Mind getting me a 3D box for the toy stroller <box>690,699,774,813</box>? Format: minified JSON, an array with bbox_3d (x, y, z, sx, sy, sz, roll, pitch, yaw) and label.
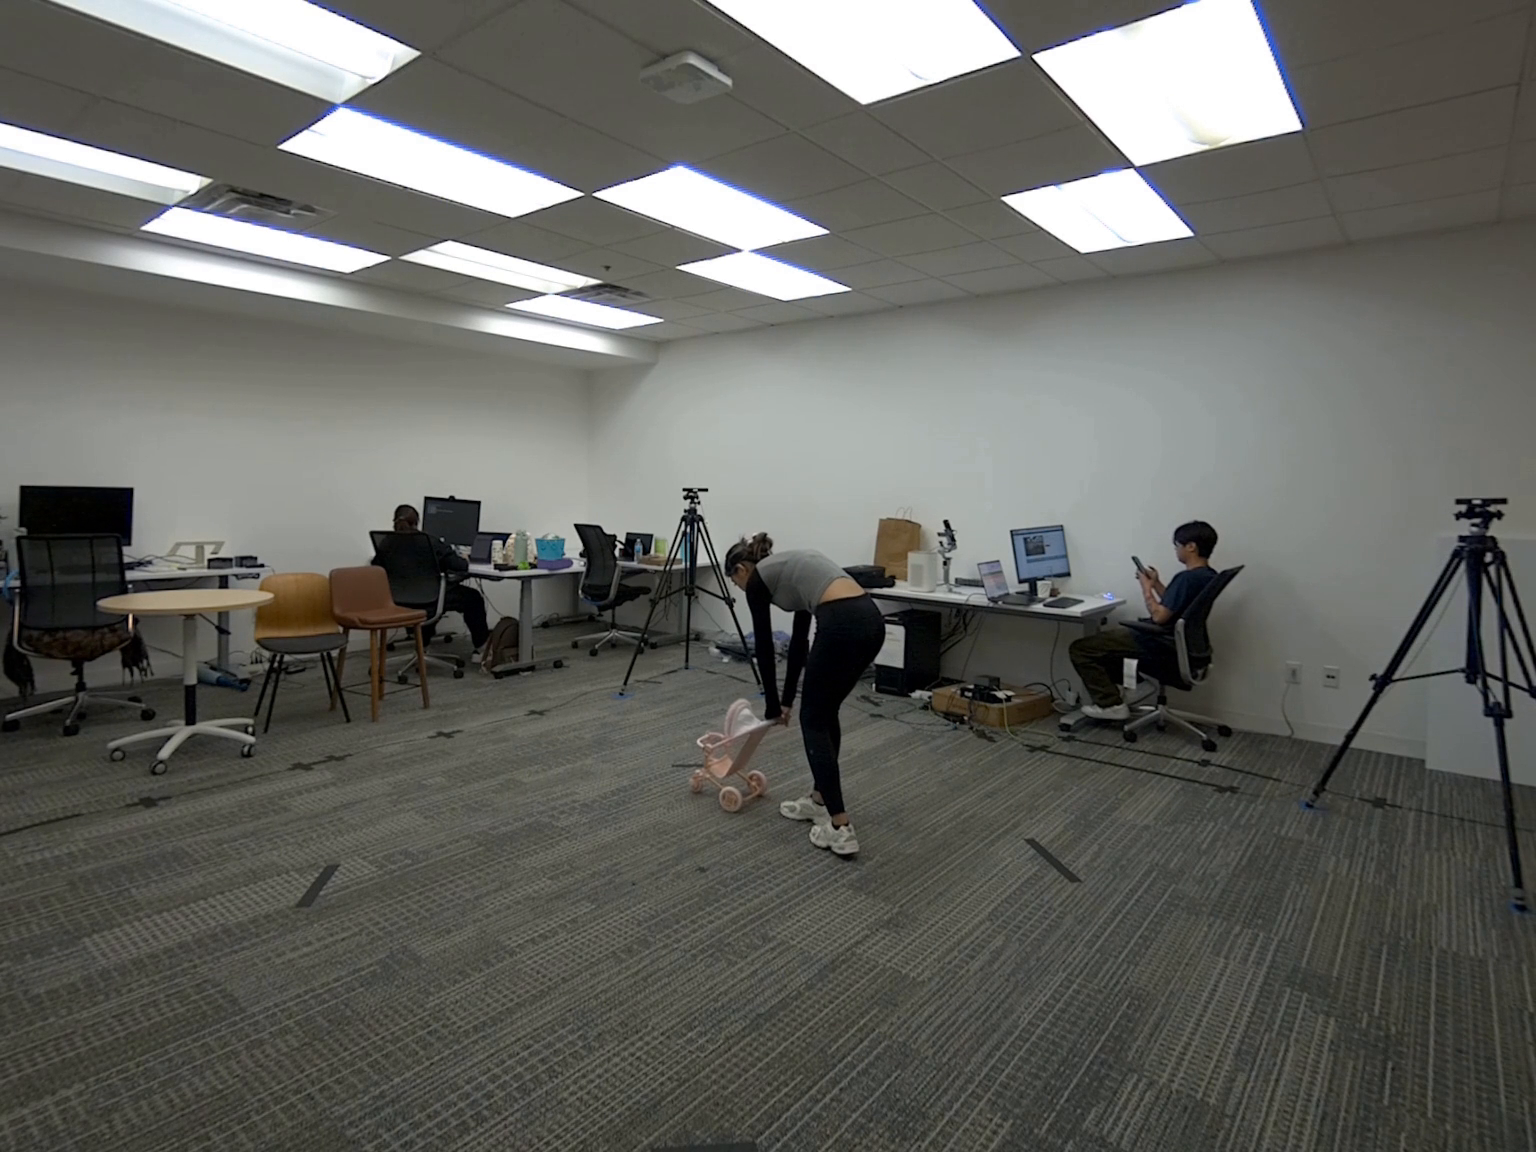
[{"bbox_3d":[-0.163,0.780,3.806,0.354,0.531,0.273,23,14,30],"label":"toy stroller"}]
